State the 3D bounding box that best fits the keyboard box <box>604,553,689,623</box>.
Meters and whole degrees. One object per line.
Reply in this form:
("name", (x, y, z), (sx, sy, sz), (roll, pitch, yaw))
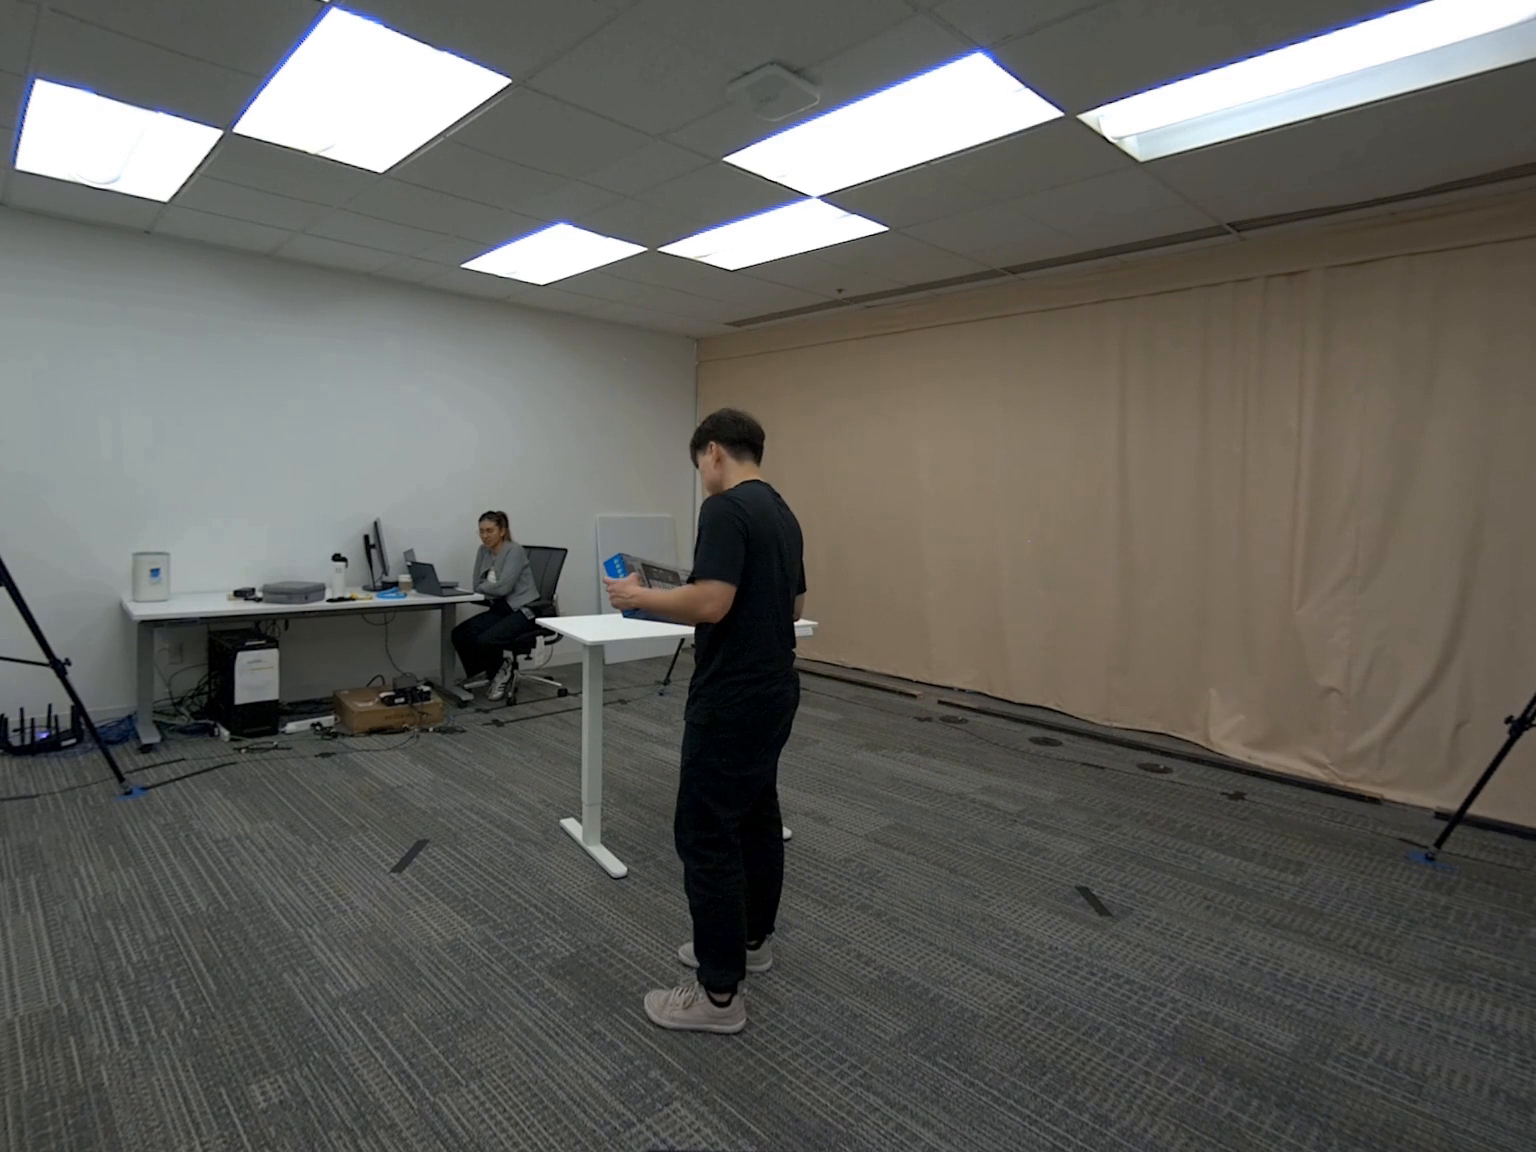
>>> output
("keyboard box", (-0.315, 0.054, 2.466), (0.059, 0.179, 0.427), (-29, -17, 16))
